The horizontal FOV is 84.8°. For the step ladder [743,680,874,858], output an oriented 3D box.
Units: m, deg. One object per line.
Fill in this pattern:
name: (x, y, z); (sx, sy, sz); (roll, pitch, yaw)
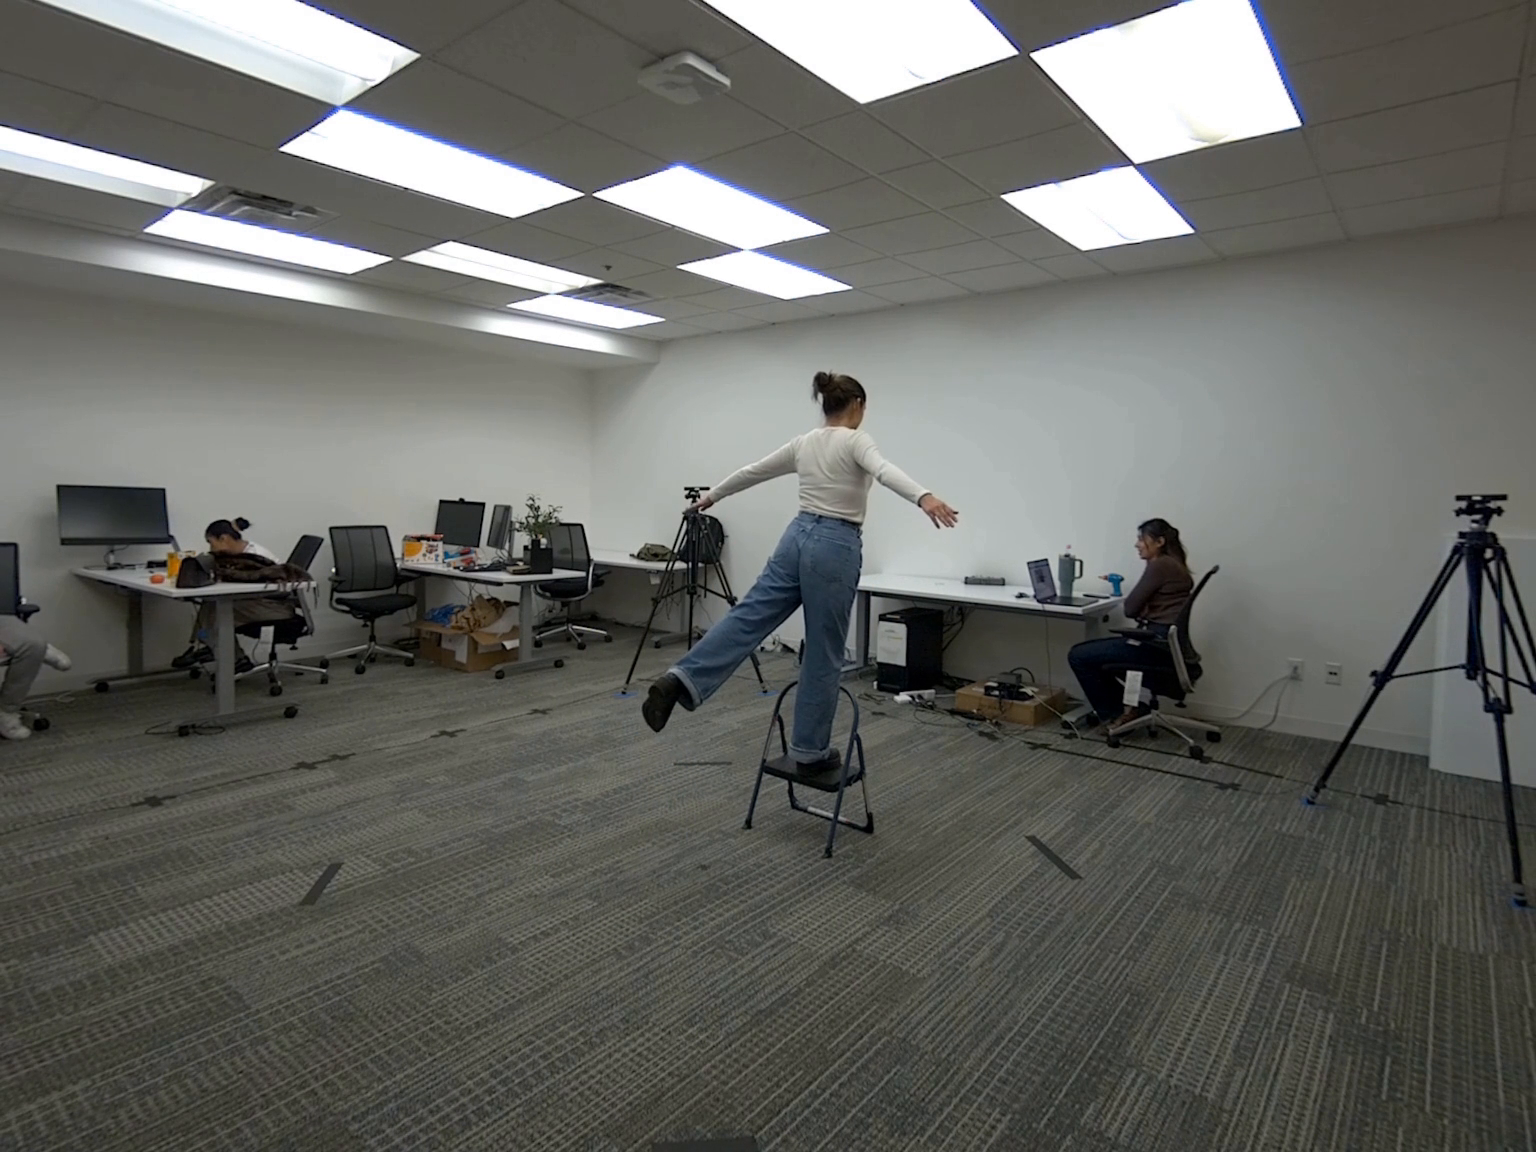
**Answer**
step ladder: (0.167, 0.733, 3.463); (0.445, 0.604, 0.339); (4, 4, 39)
